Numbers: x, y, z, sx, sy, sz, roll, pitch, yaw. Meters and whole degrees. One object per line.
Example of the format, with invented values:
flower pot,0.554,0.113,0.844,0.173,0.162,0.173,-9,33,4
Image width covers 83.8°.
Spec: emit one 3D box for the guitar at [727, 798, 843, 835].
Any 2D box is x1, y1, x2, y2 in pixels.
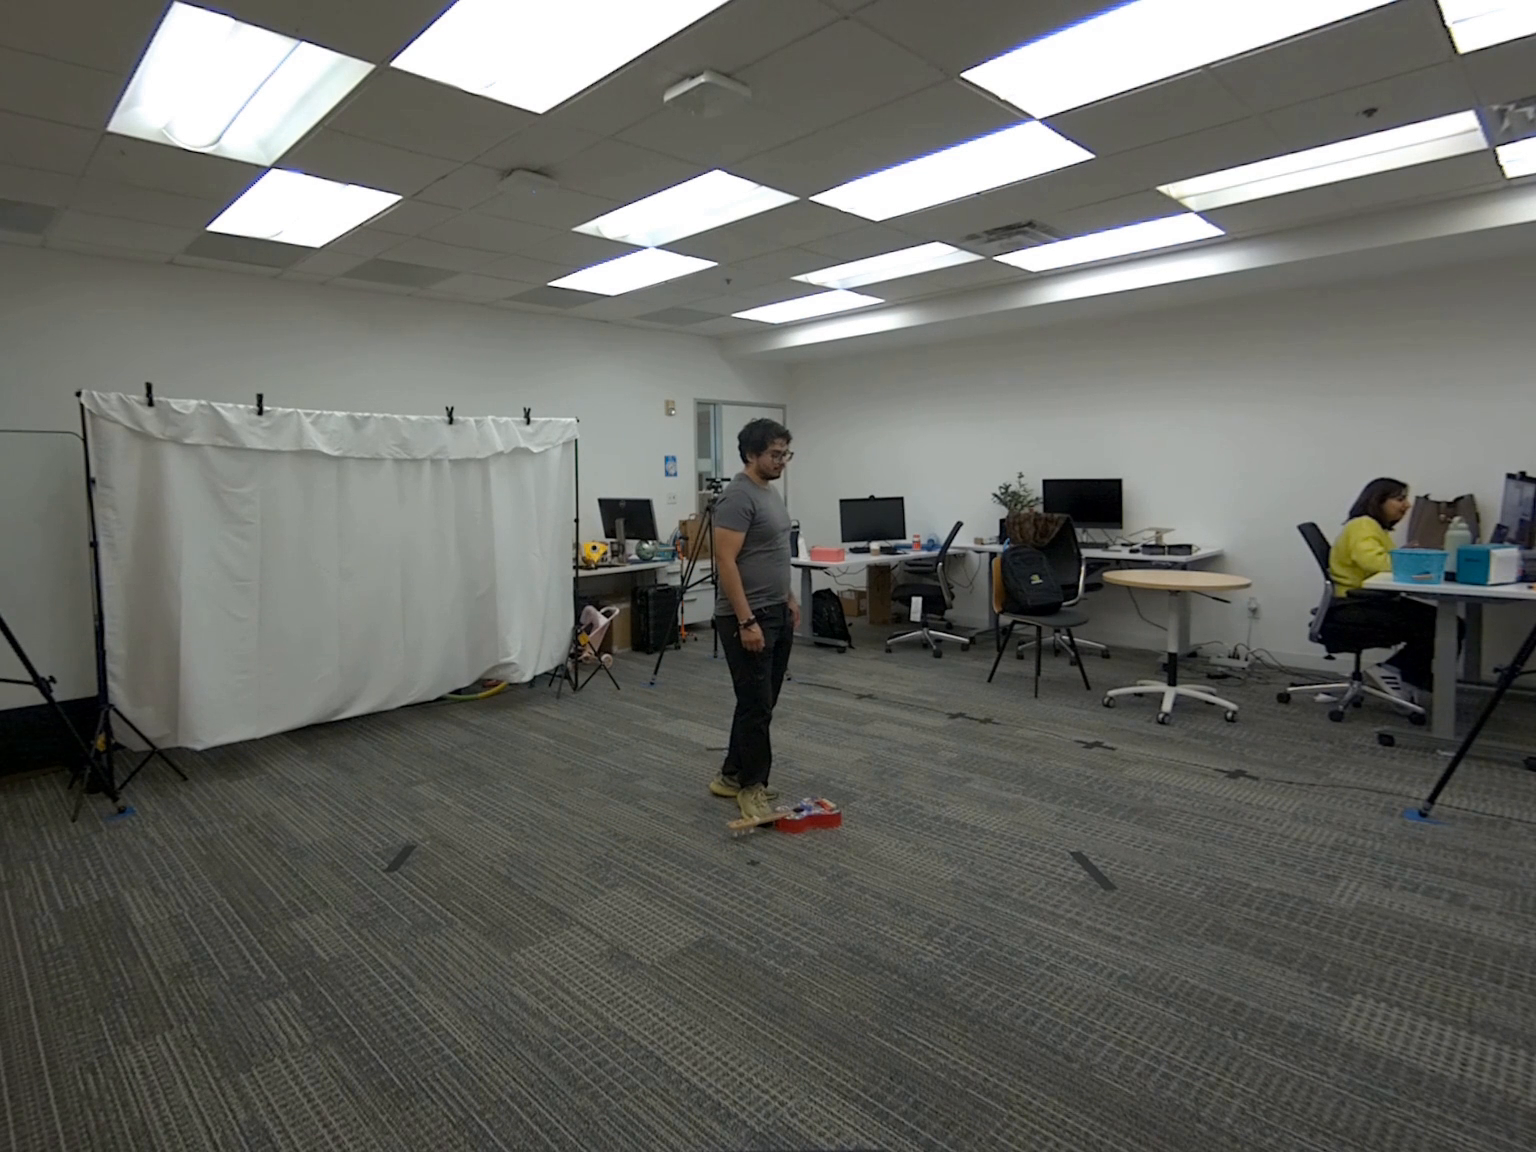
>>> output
guitar,0.046,0.967,3.430,0.489,0.070,0.197,-3,7,-20
